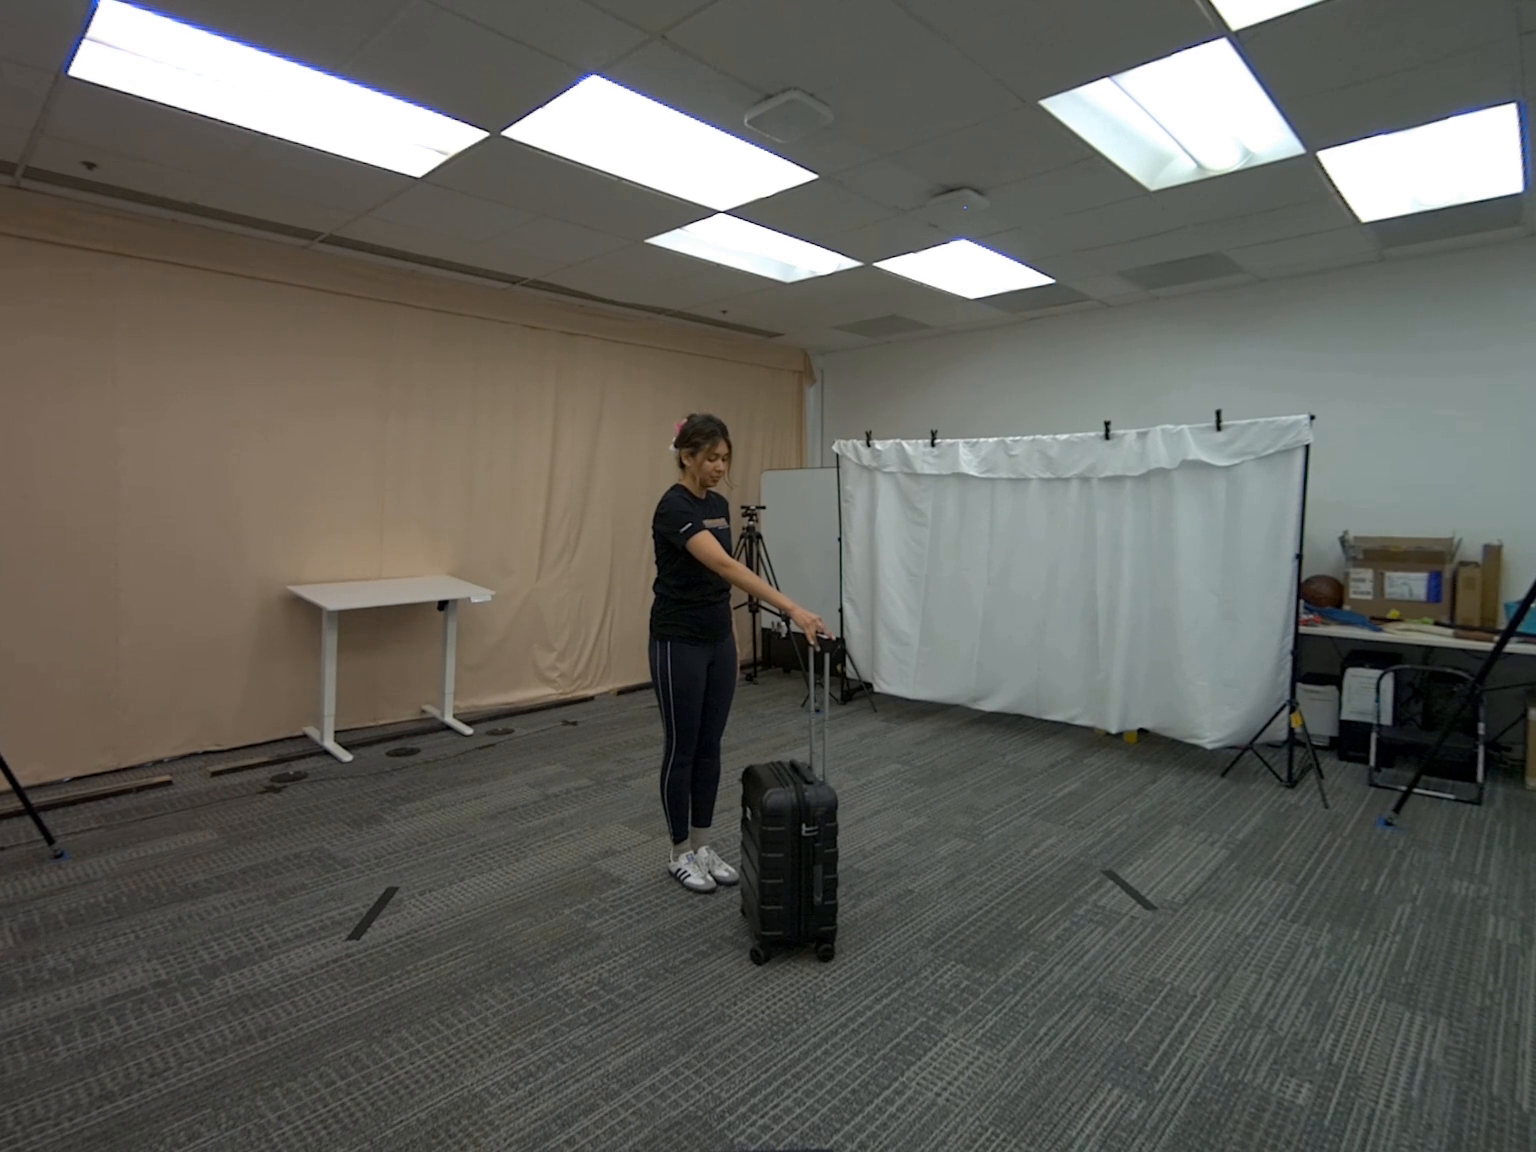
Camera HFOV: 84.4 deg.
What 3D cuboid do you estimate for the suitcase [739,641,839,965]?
[{"bbox_3d":[0.065,0.695,2.687,0.255,0.977,0.388,-1,3,-10],"label":"suitcase"}]
